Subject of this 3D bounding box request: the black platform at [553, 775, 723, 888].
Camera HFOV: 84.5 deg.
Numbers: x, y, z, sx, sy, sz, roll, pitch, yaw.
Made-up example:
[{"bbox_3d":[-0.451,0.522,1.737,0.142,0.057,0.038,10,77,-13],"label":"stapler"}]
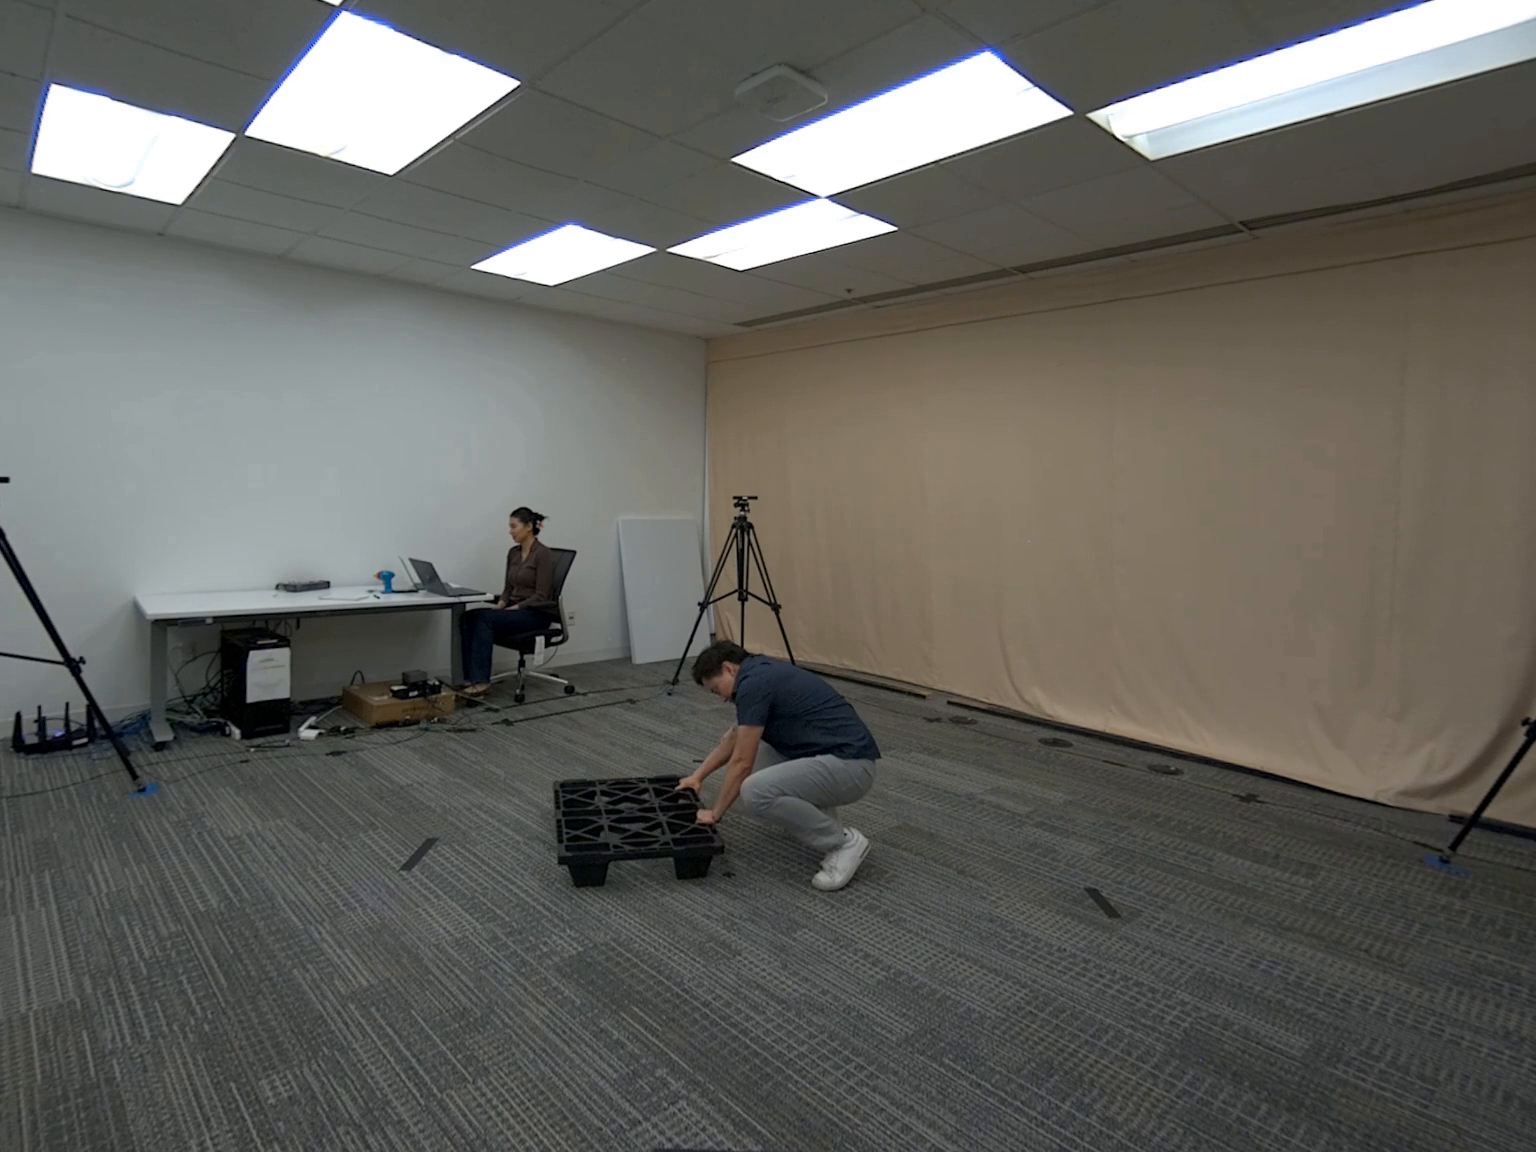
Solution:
[{"bbox_3d":[-0.555,0.996,3.365,0.598,0.143,0.816,0,5,-14],"label":"black platform"}]
